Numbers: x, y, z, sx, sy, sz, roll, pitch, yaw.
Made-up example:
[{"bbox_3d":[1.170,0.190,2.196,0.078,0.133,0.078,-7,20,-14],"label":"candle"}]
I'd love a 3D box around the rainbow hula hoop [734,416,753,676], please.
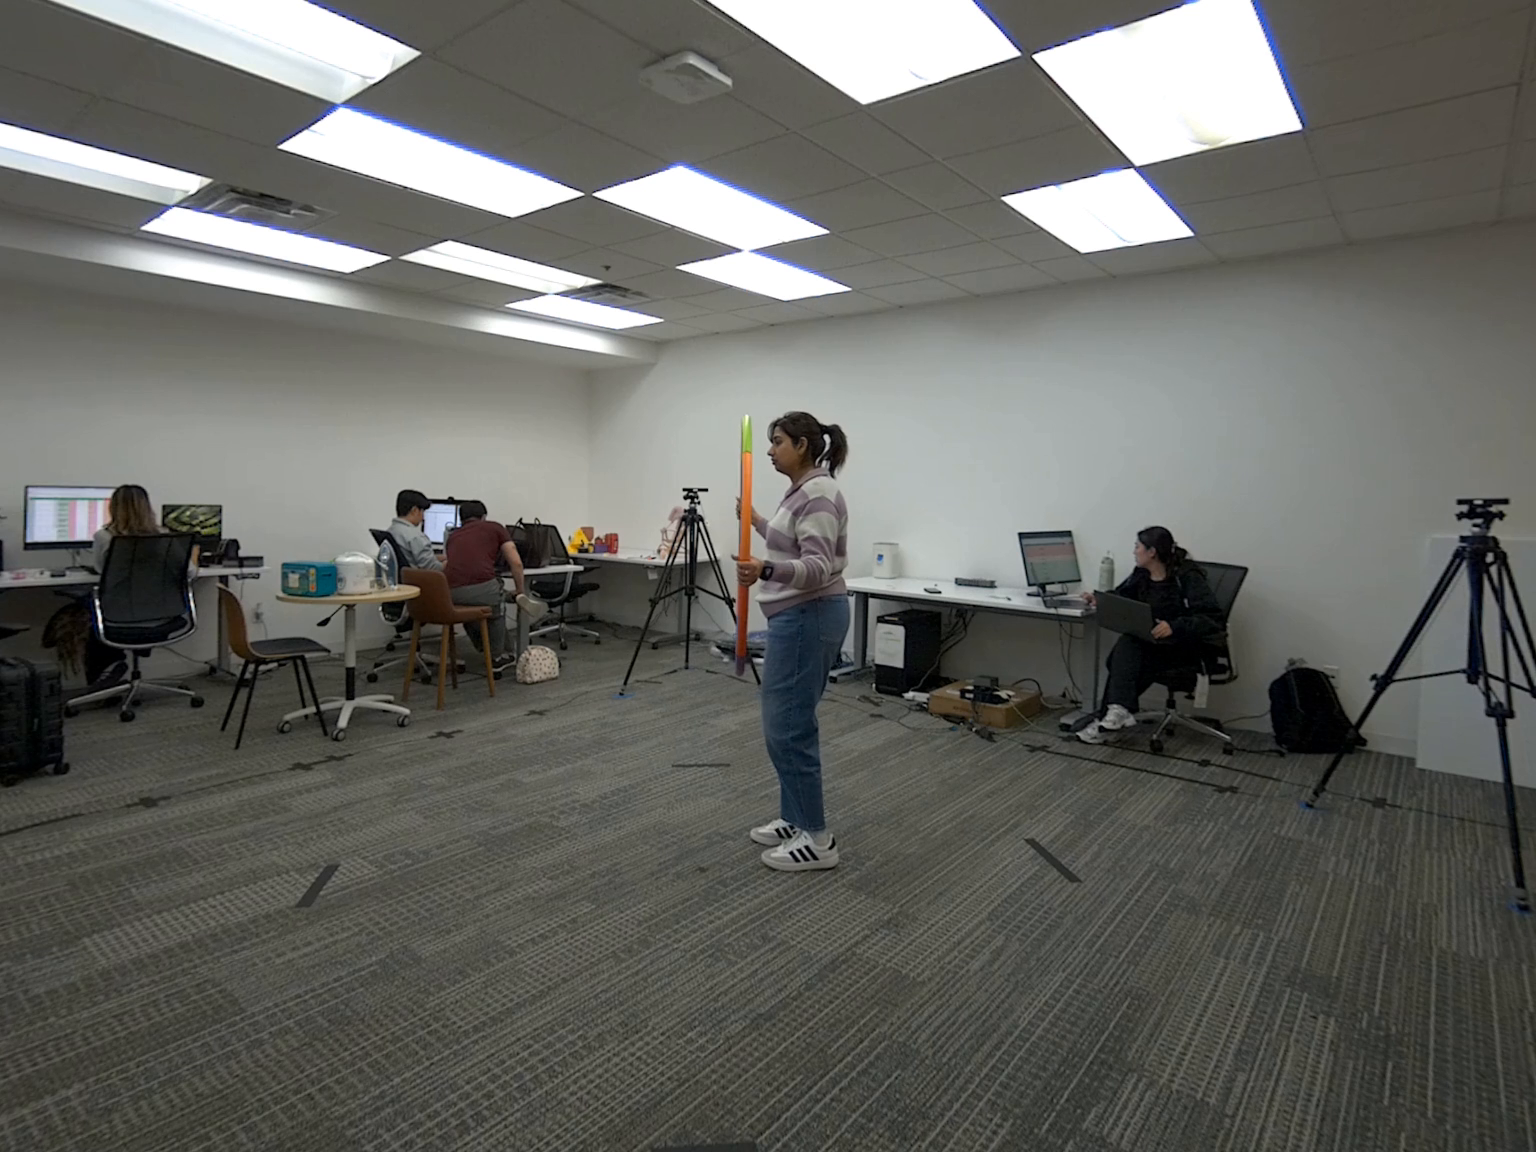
[{"bbox_3d":[-0.099,-0.118,3.248,0.035,0.976,0.982,2,4,-2],"label":"rainbow hula hoop"}]
